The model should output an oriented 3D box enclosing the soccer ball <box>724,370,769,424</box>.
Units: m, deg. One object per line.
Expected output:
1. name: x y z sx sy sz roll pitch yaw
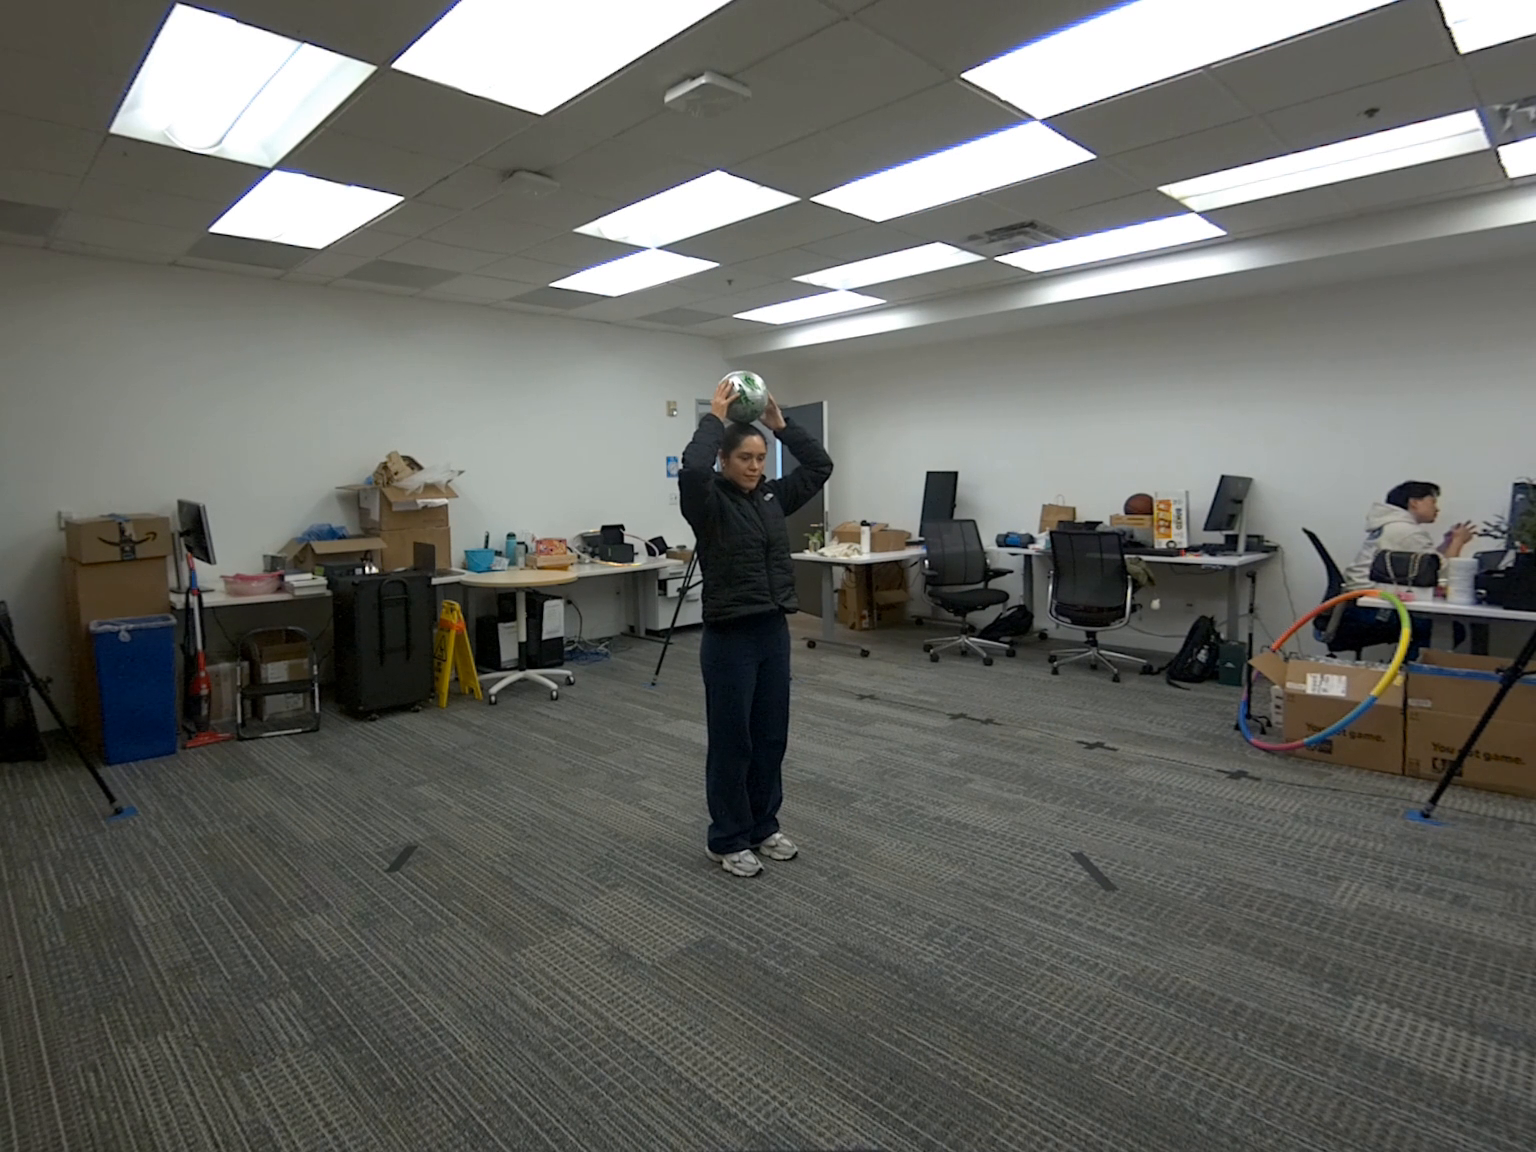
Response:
1. soccer ball: -0.089 -0.628 3.027 0.187 0.187 0.188 -1 5 -2
